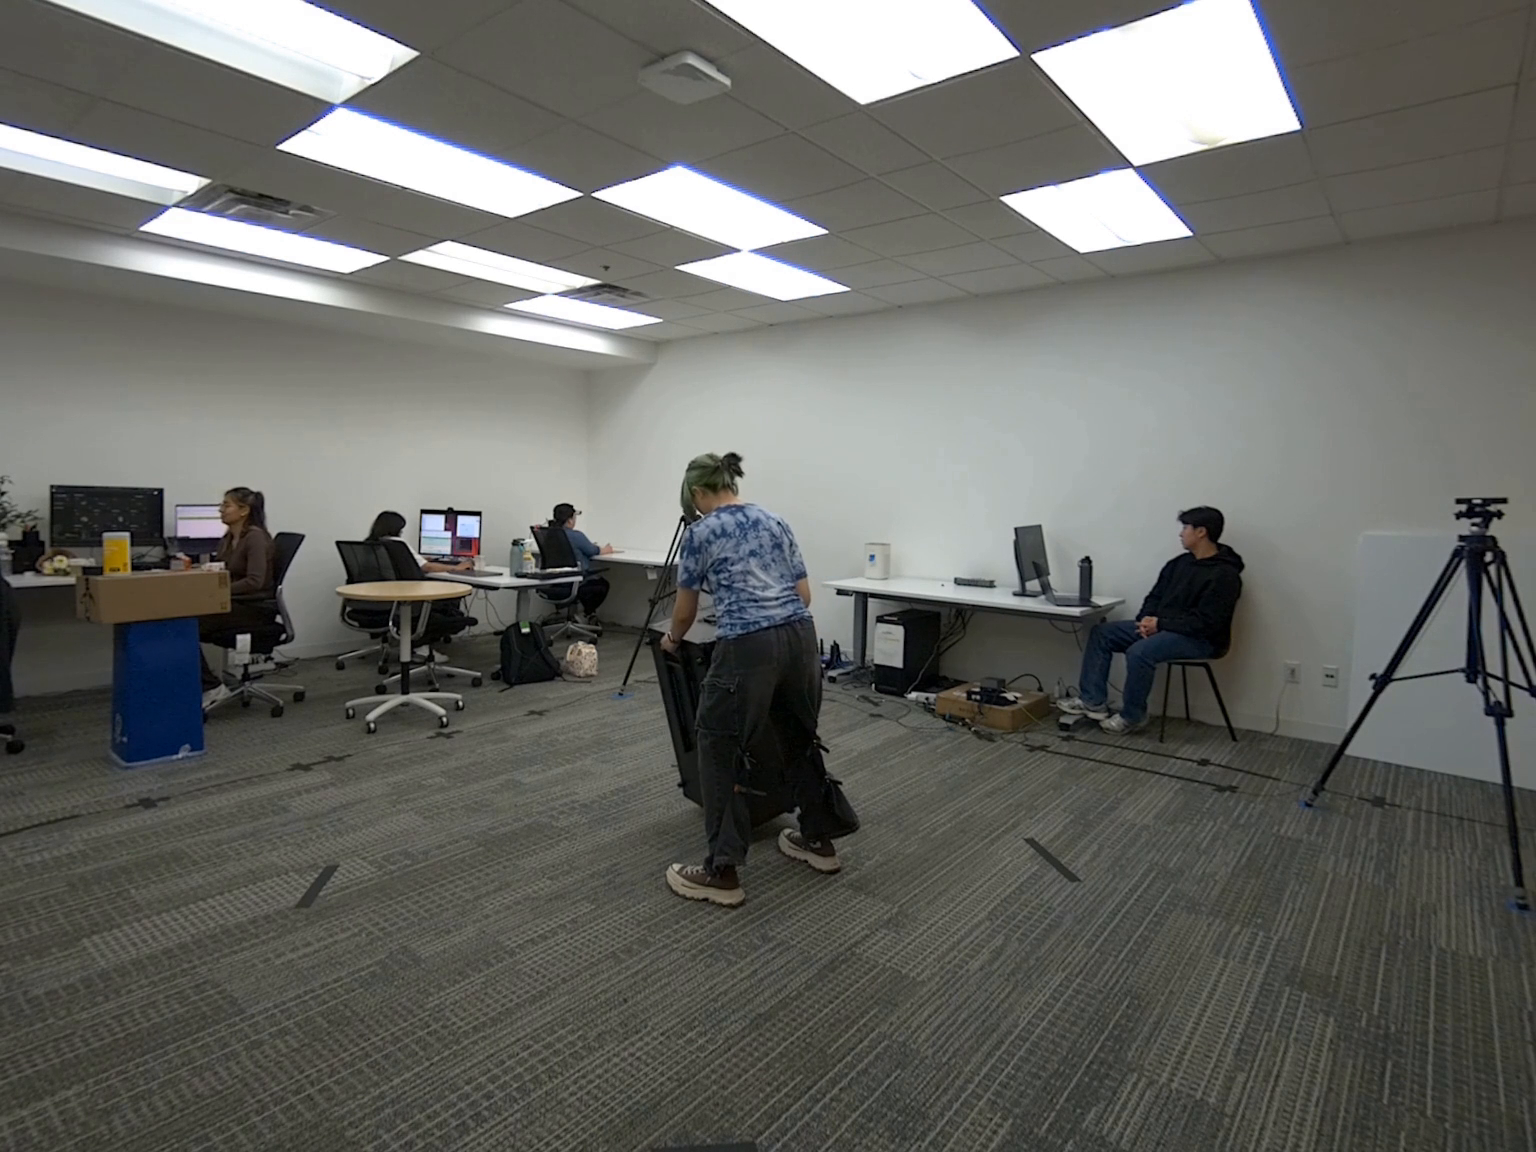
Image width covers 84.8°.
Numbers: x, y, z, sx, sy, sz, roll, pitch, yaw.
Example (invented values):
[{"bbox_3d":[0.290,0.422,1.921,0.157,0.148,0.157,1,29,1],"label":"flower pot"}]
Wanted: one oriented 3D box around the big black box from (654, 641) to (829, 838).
[{"bbox_3d":[-0.179,0.590,3.519,0.389,0.851,0.537,-18,12,-29],"label":"big black box"}]
